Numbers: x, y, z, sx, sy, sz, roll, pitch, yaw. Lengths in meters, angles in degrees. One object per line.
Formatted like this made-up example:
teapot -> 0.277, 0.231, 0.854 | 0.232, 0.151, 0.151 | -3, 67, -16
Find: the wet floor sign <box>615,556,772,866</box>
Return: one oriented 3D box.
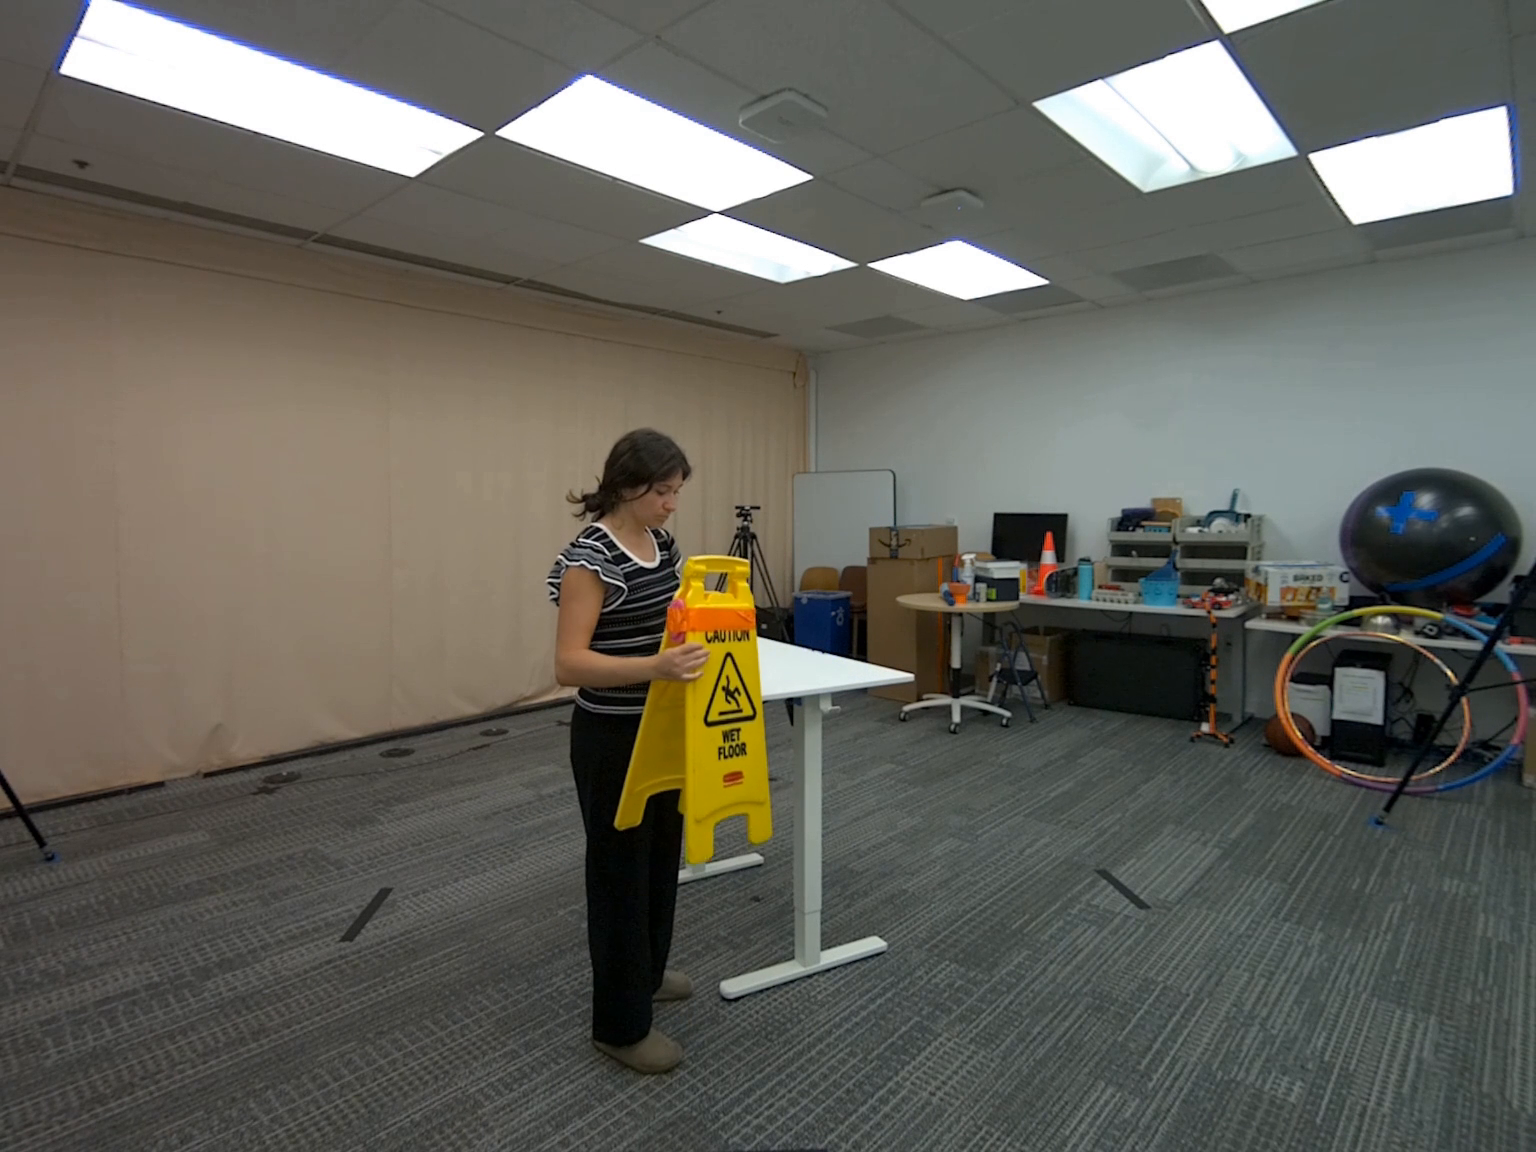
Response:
wet floor sign -> -0.149, 0.280, 1.949 | 0.299, 0.646, 0.273 | 5, 0, 42
